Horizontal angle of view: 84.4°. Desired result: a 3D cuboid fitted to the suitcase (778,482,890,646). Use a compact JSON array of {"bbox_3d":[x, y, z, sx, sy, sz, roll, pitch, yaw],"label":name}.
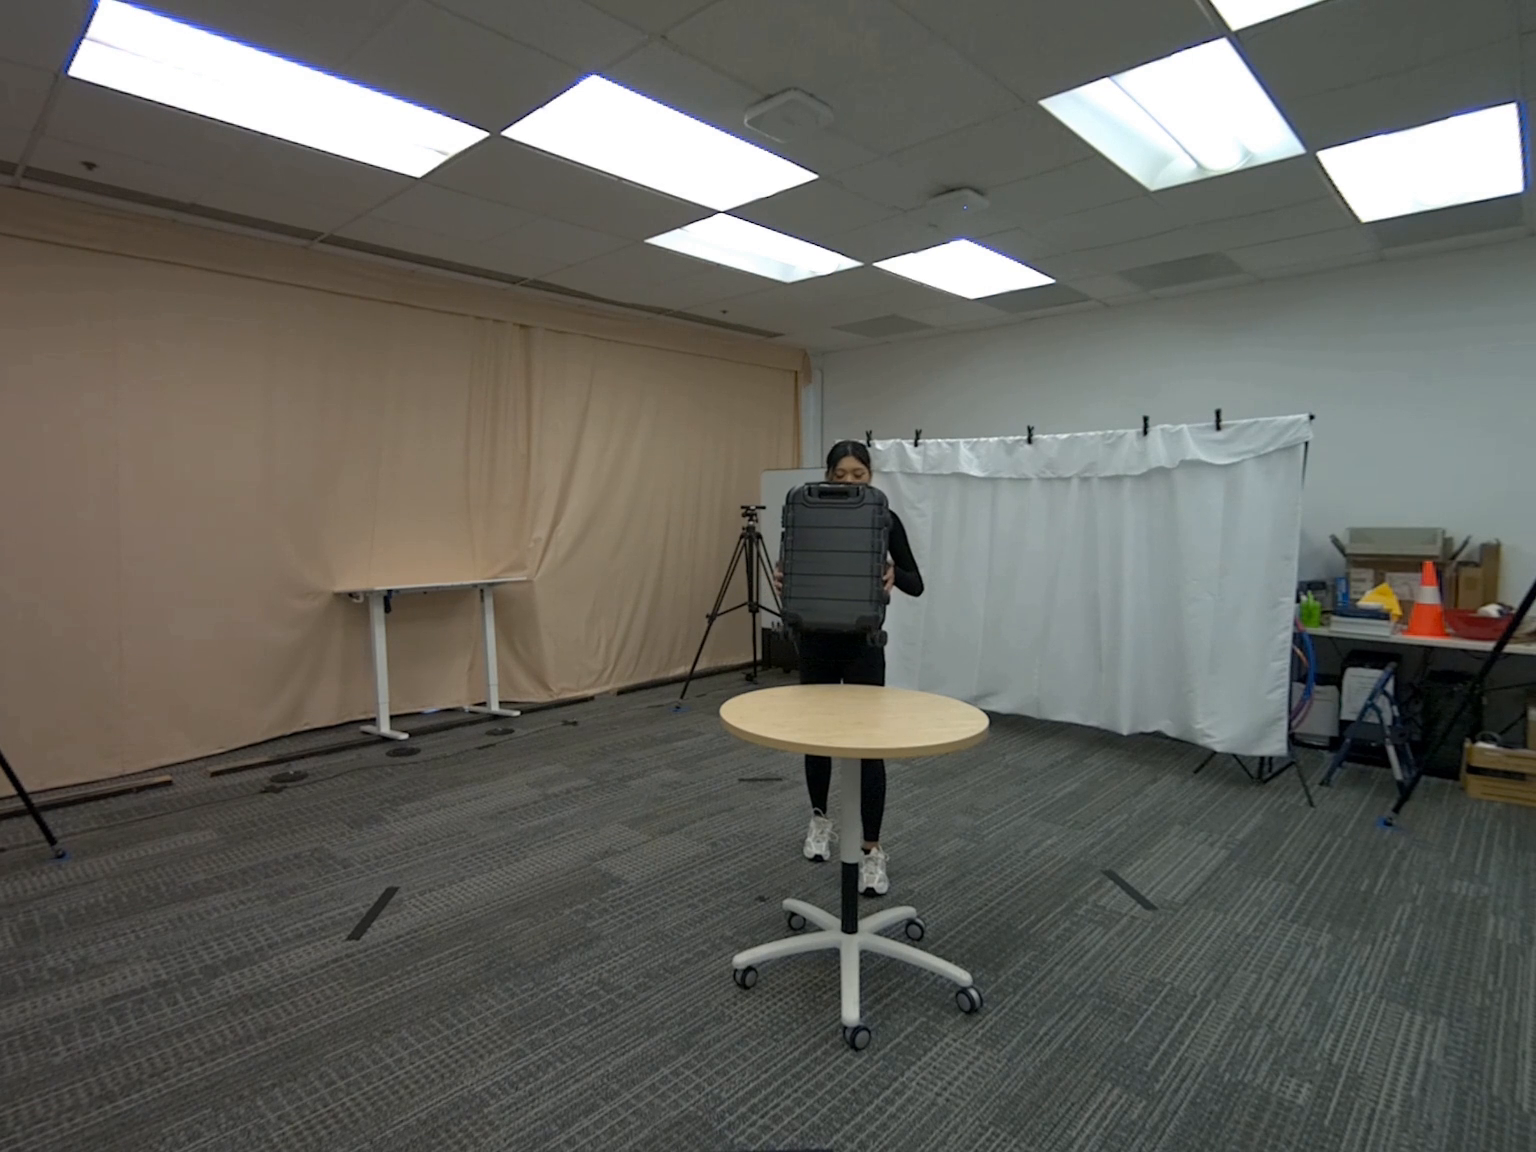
[{"bbox_3d":[0.235,-0.046,2.922,0.383,0.551,0.243,0,-5,18],"label":"suitcase"}]
